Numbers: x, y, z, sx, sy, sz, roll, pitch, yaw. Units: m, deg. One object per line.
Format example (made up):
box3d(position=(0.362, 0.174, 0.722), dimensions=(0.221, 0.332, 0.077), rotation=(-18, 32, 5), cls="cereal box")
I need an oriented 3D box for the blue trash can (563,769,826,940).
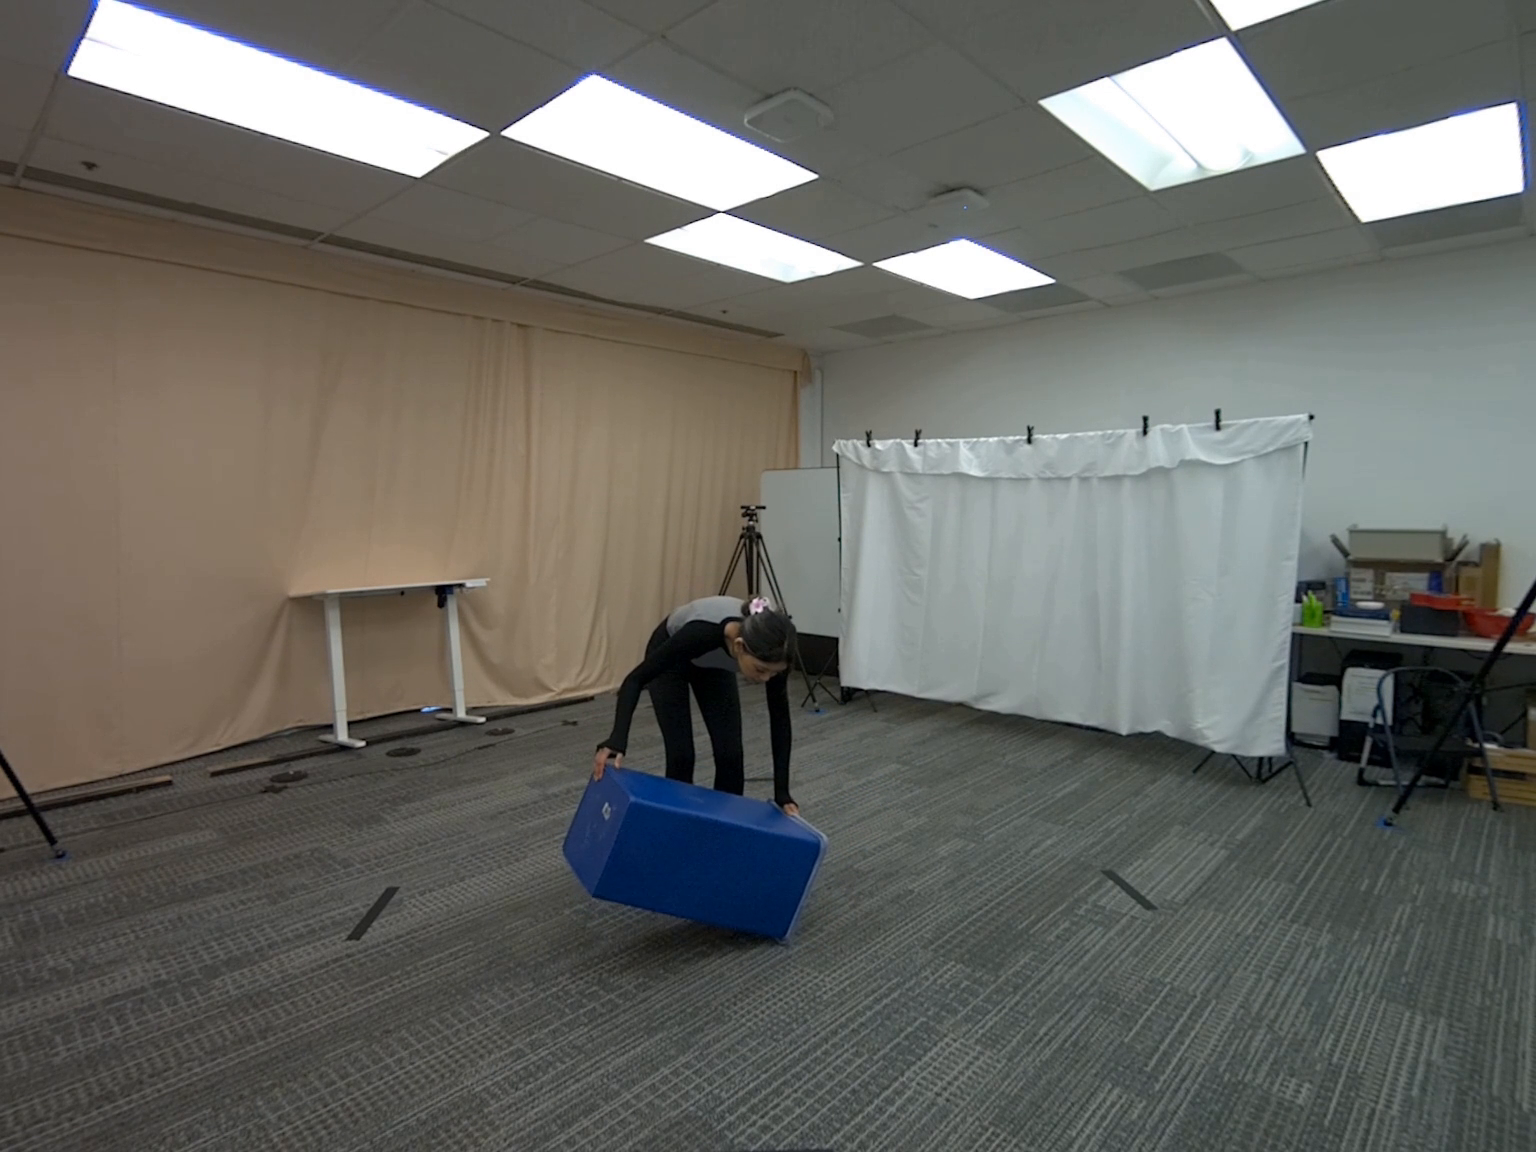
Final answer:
box3d(position=(-0.230, 0.858, 2.653), dimensions=(0.692, 0.374, 0.390), rotation=(24, -3, -29), cls="blue trash can")
